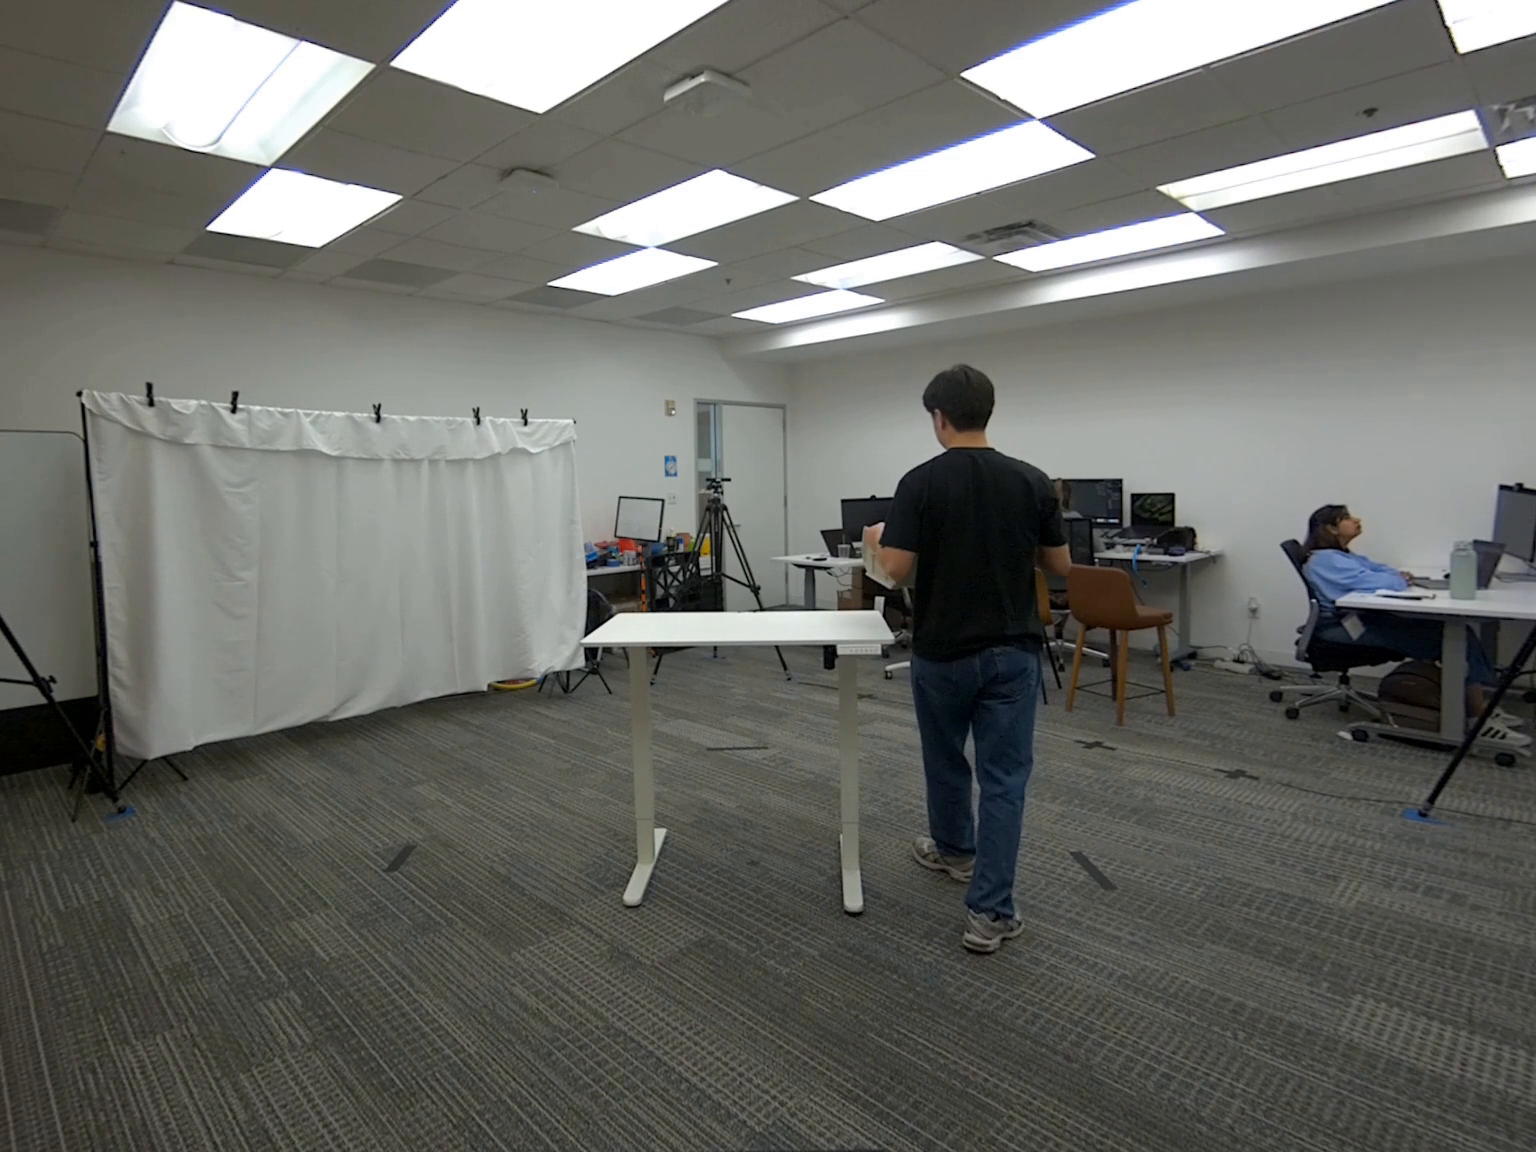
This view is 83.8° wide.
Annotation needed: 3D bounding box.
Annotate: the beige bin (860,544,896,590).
[{"bbox_3d":[0.593,-0.069,3.047,0.419,0.187,0.383,0,9,-8],"label":"beige bin"}]
